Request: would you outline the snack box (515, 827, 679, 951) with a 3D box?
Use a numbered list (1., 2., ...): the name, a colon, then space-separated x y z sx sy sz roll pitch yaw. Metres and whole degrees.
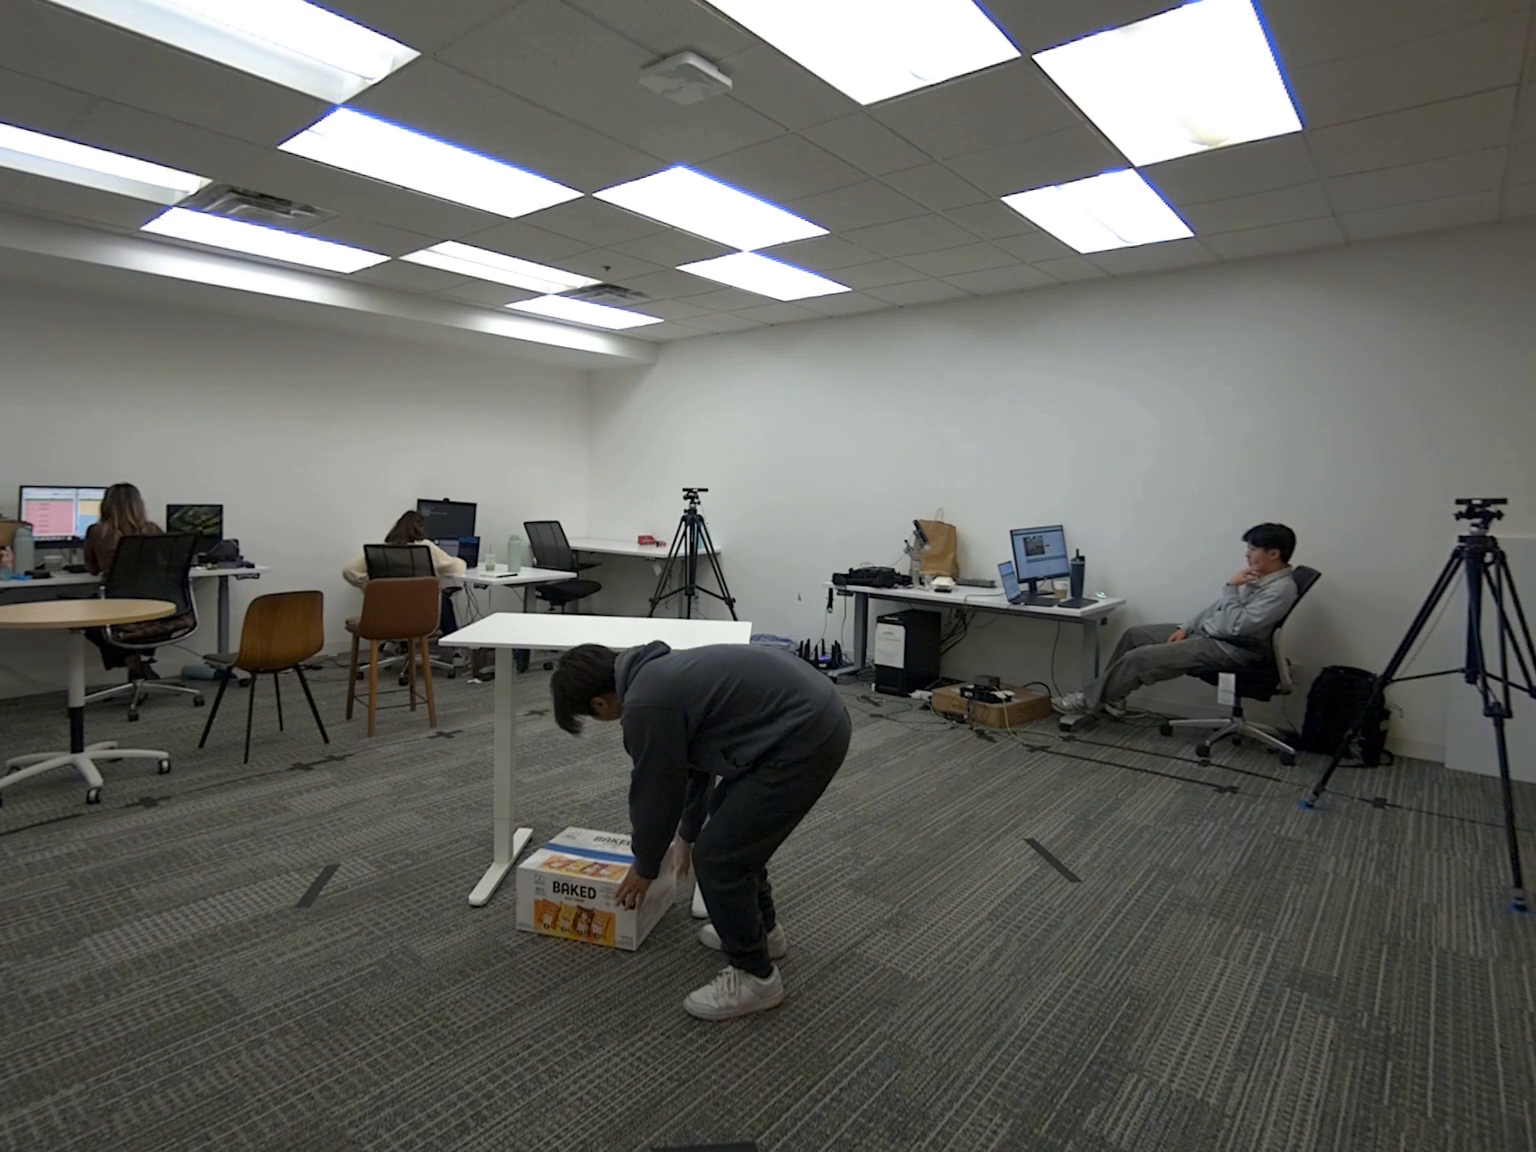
1. snack box: -0.555 0.995 2.748 0.413 0.205 0.335 2 5 17
